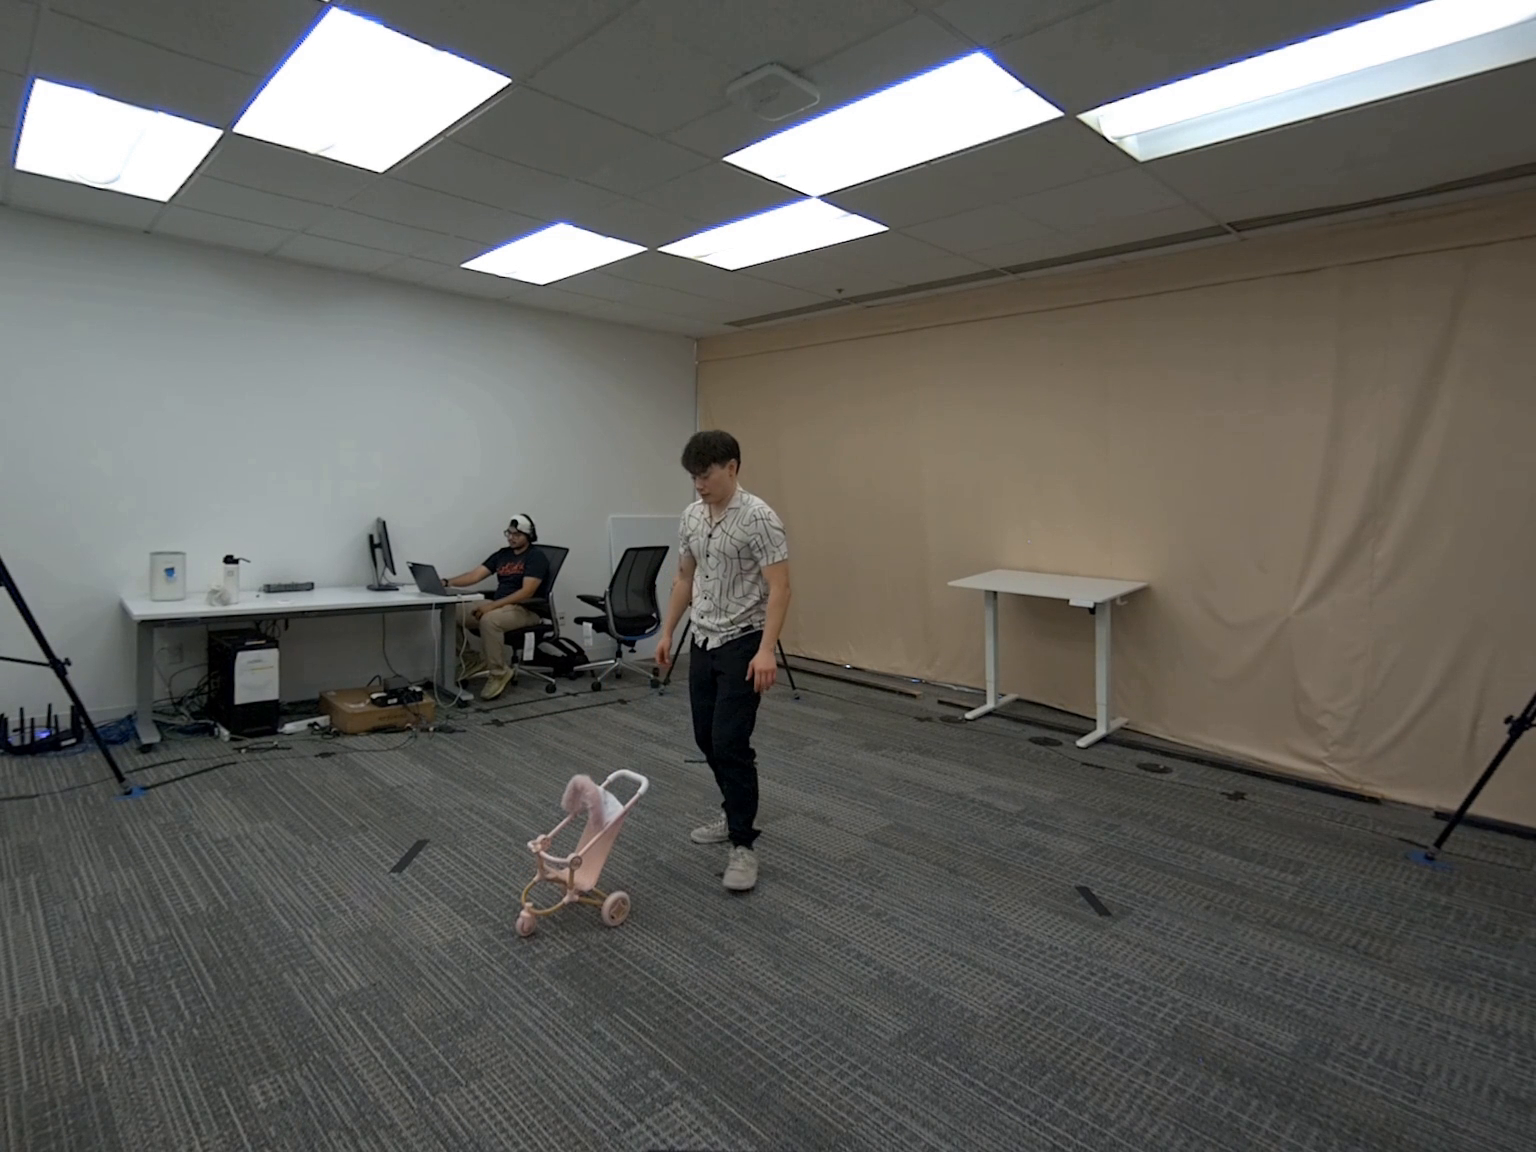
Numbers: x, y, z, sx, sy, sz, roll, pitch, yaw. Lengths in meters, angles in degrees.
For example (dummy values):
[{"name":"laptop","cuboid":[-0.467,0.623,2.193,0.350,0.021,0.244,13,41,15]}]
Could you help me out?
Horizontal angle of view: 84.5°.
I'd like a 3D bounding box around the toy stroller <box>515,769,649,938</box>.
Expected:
[{"name":"toy stroller","cuboid":[-0.626,0.900,2.757,0.331,0.537,0.288,19,-9,-38]}]
